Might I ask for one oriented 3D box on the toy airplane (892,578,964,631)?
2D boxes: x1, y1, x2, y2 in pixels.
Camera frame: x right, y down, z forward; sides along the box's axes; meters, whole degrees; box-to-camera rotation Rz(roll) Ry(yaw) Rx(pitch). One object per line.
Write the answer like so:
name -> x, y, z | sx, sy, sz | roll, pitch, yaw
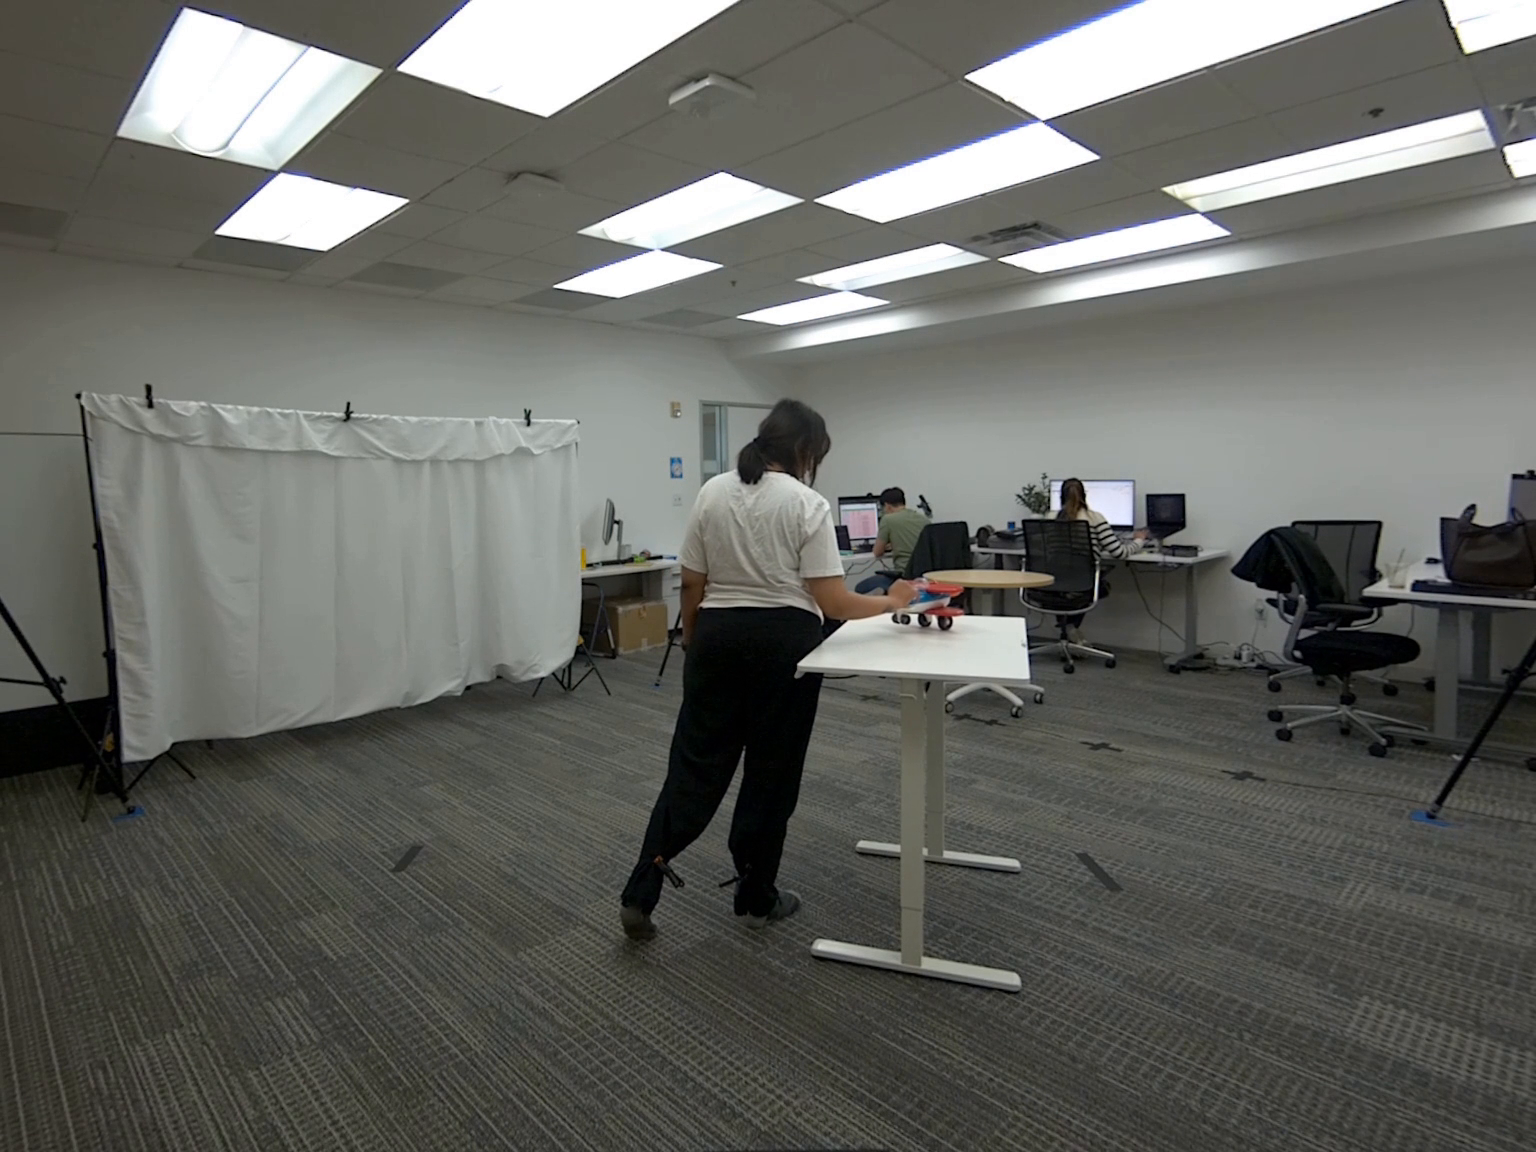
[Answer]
toy airplane -> 0.537, 0.096, 2.842 | 0.257, 0.157, 0.253 | 8, -1, 22
